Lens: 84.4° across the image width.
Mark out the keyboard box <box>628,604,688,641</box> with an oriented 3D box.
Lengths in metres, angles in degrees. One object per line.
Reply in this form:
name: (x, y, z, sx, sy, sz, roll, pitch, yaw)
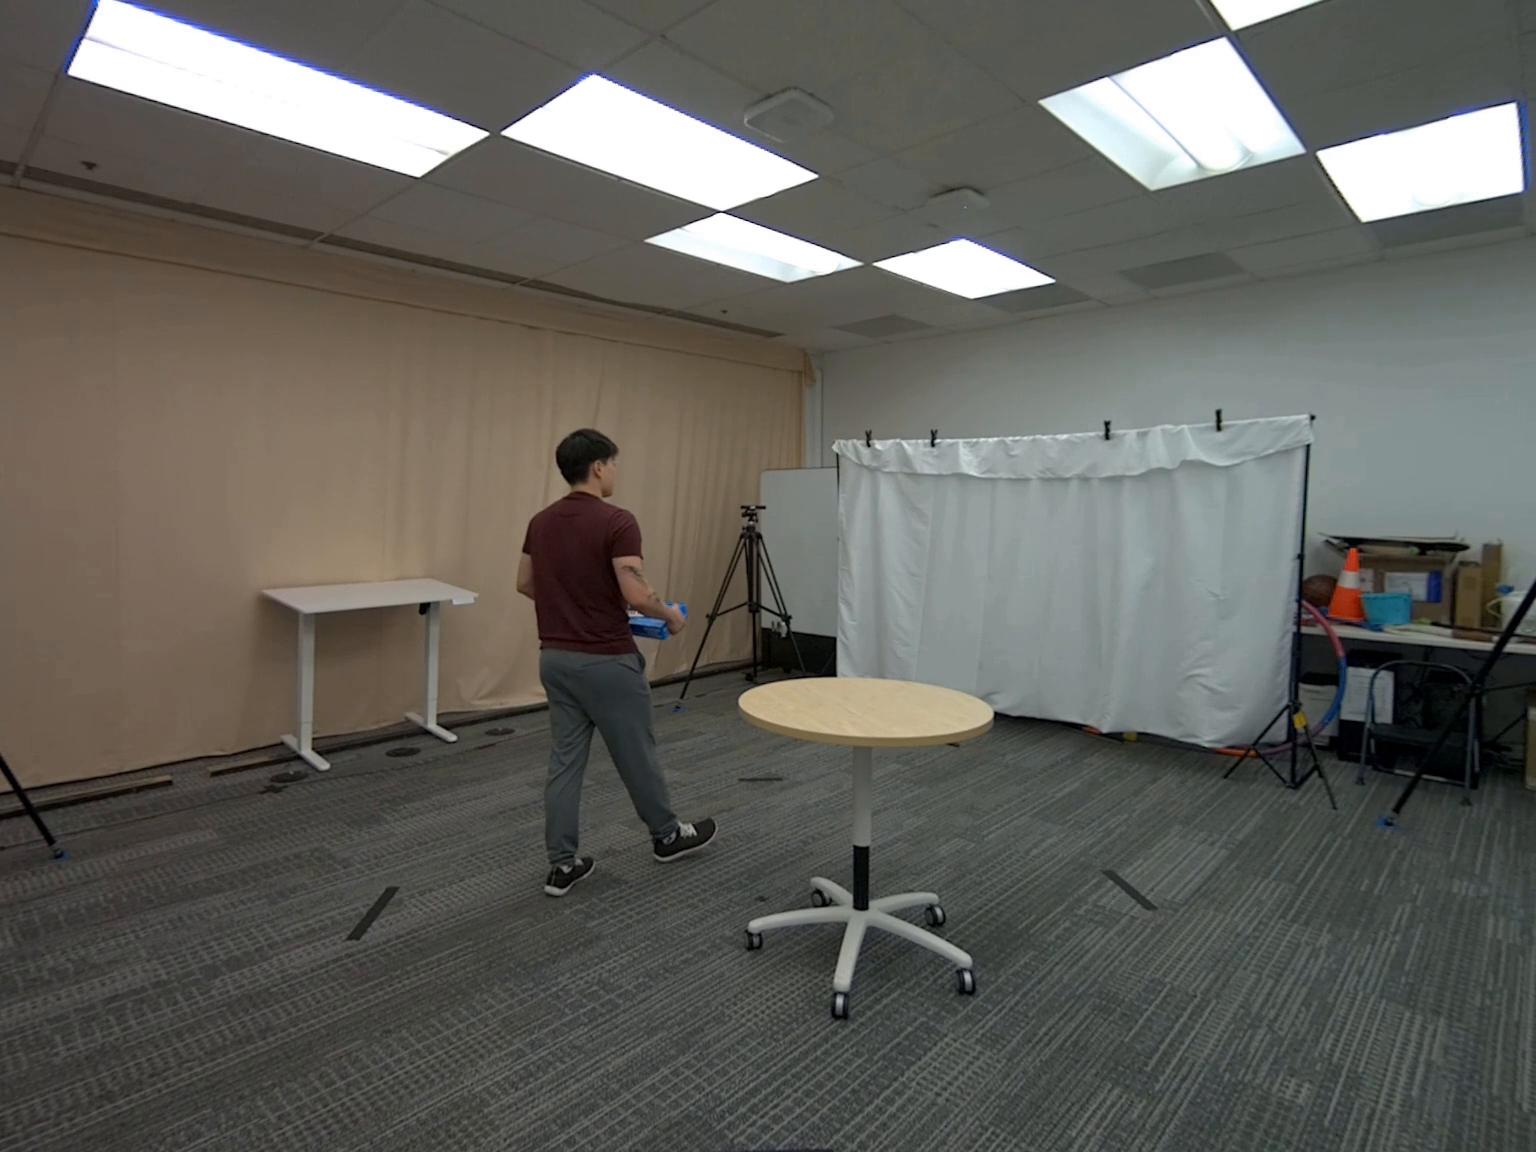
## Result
keyboard box: (-0.567, 0.157, 3.325, 0.450, 0.058, 0.174, 5, 32, 30)
